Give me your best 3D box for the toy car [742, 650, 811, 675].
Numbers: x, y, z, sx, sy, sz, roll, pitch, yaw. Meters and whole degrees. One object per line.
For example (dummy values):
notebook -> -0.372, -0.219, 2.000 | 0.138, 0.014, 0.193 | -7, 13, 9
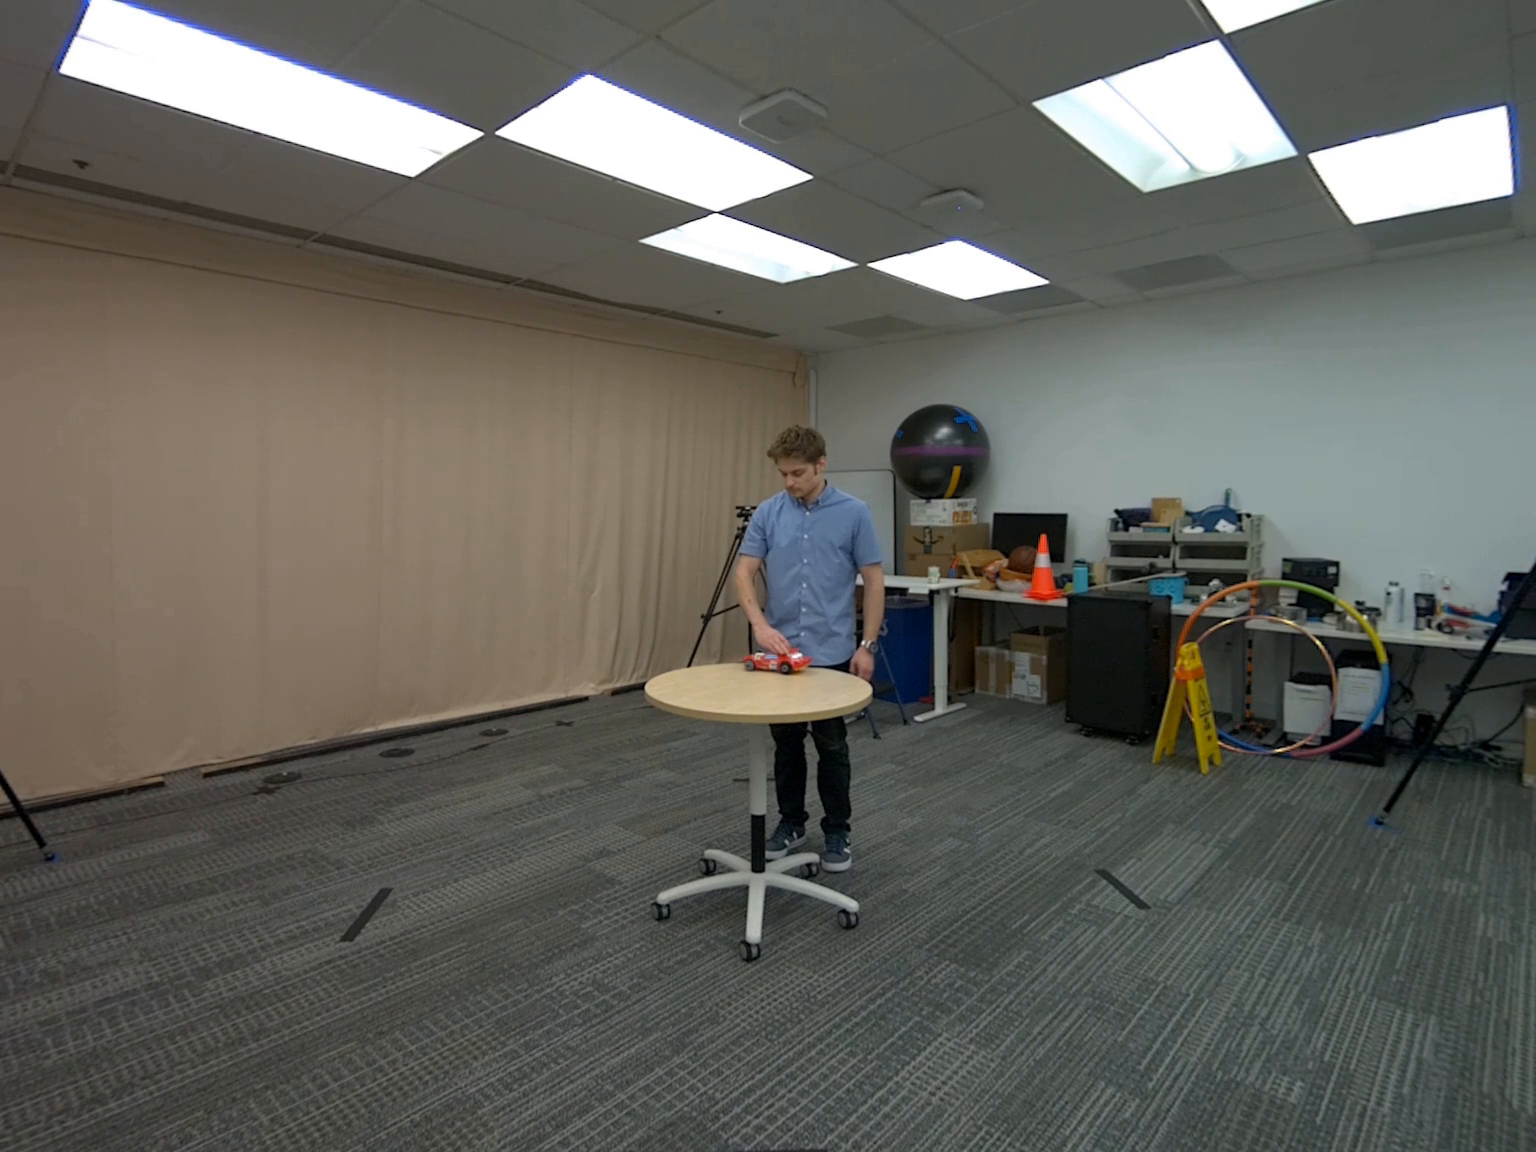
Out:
toy car -> 0.036, 0.320, 3.086 | 0.260, 0.083, 0.127 | -10, 0, 28
